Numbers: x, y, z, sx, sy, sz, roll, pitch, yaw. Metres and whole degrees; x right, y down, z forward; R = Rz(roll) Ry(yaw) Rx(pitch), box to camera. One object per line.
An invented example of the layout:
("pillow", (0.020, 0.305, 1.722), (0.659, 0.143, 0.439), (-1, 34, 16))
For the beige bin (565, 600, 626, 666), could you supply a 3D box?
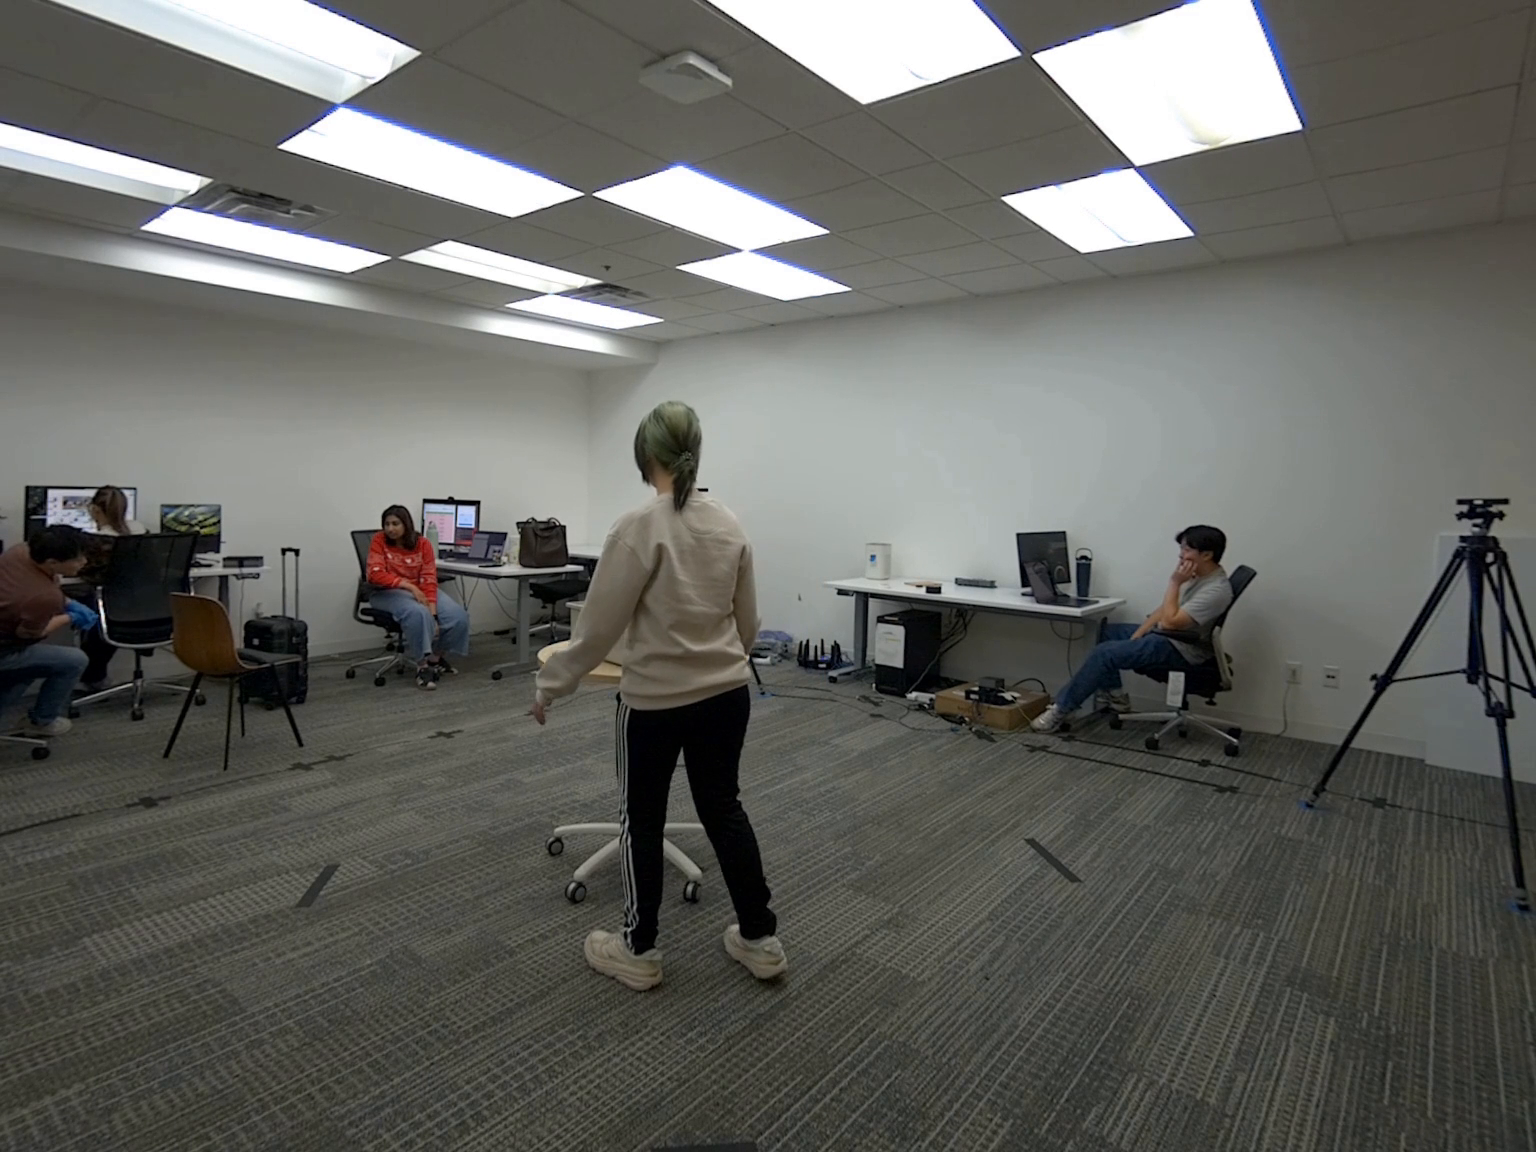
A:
("beige bin", (-0.461, 0.197, 3.059), (0.366, 0.188, 0.437), (-5, 9, -43))
